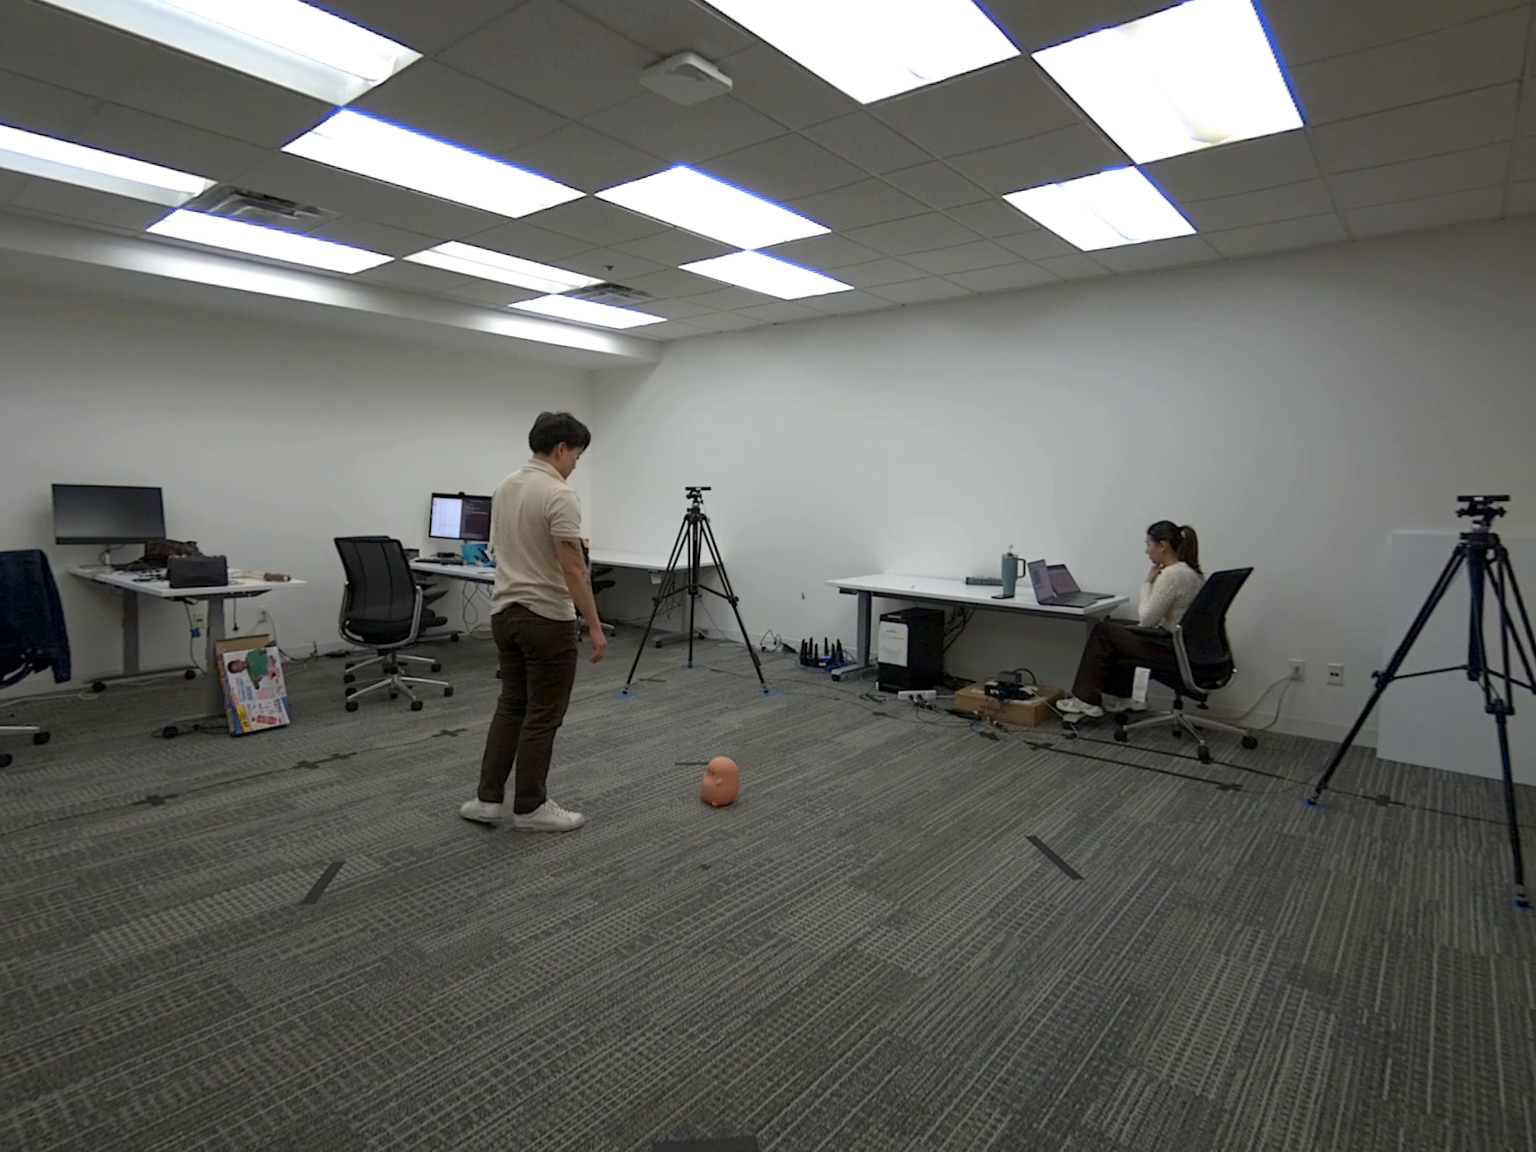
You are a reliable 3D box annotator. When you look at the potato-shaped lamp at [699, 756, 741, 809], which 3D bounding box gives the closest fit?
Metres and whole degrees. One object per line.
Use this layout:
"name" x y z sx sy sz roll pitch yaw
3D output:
"potato-shaped lamp" -0.221 0.905 3.774 0.167 0.197 0.169 -1 5 -28
